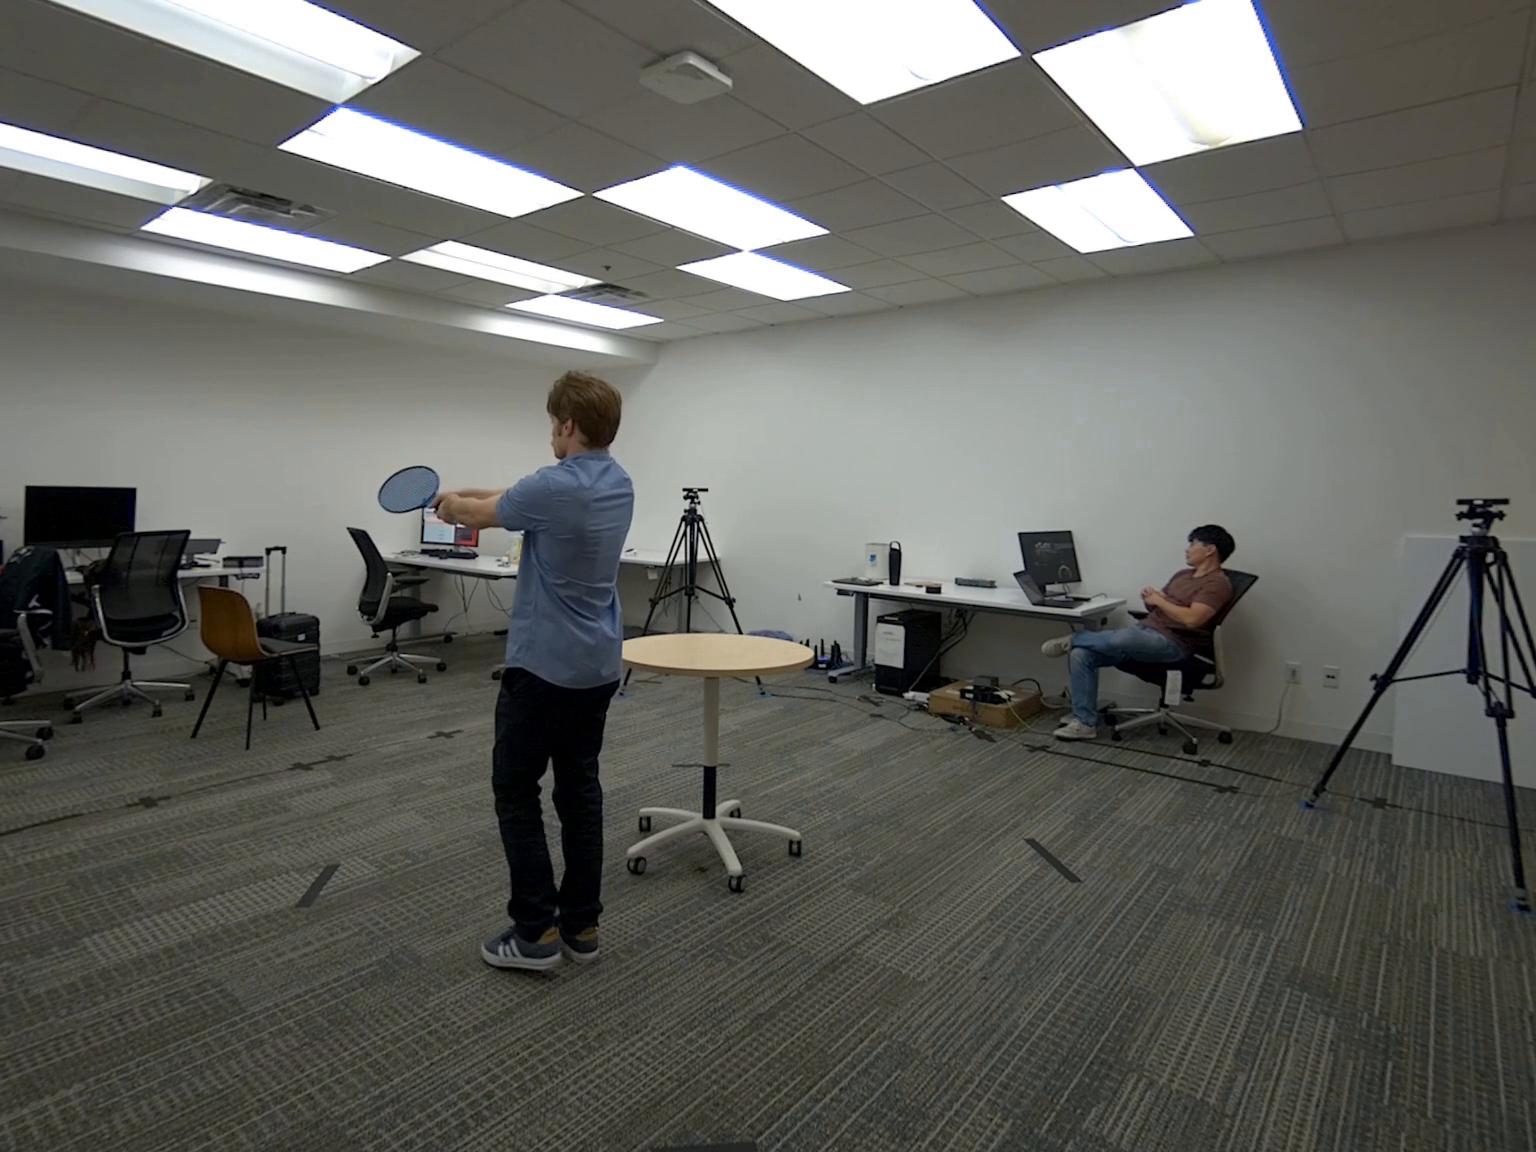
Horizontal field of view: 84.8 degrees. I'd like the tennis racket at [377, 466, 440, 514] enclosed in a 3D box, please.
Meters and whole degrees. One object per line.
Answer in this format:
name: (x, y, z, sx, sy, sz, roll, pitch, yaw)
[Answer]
tennis racket: (-1.206, -0.278, 2.915, 0.450, 0.214, 0.030, 24, -21, 35)
